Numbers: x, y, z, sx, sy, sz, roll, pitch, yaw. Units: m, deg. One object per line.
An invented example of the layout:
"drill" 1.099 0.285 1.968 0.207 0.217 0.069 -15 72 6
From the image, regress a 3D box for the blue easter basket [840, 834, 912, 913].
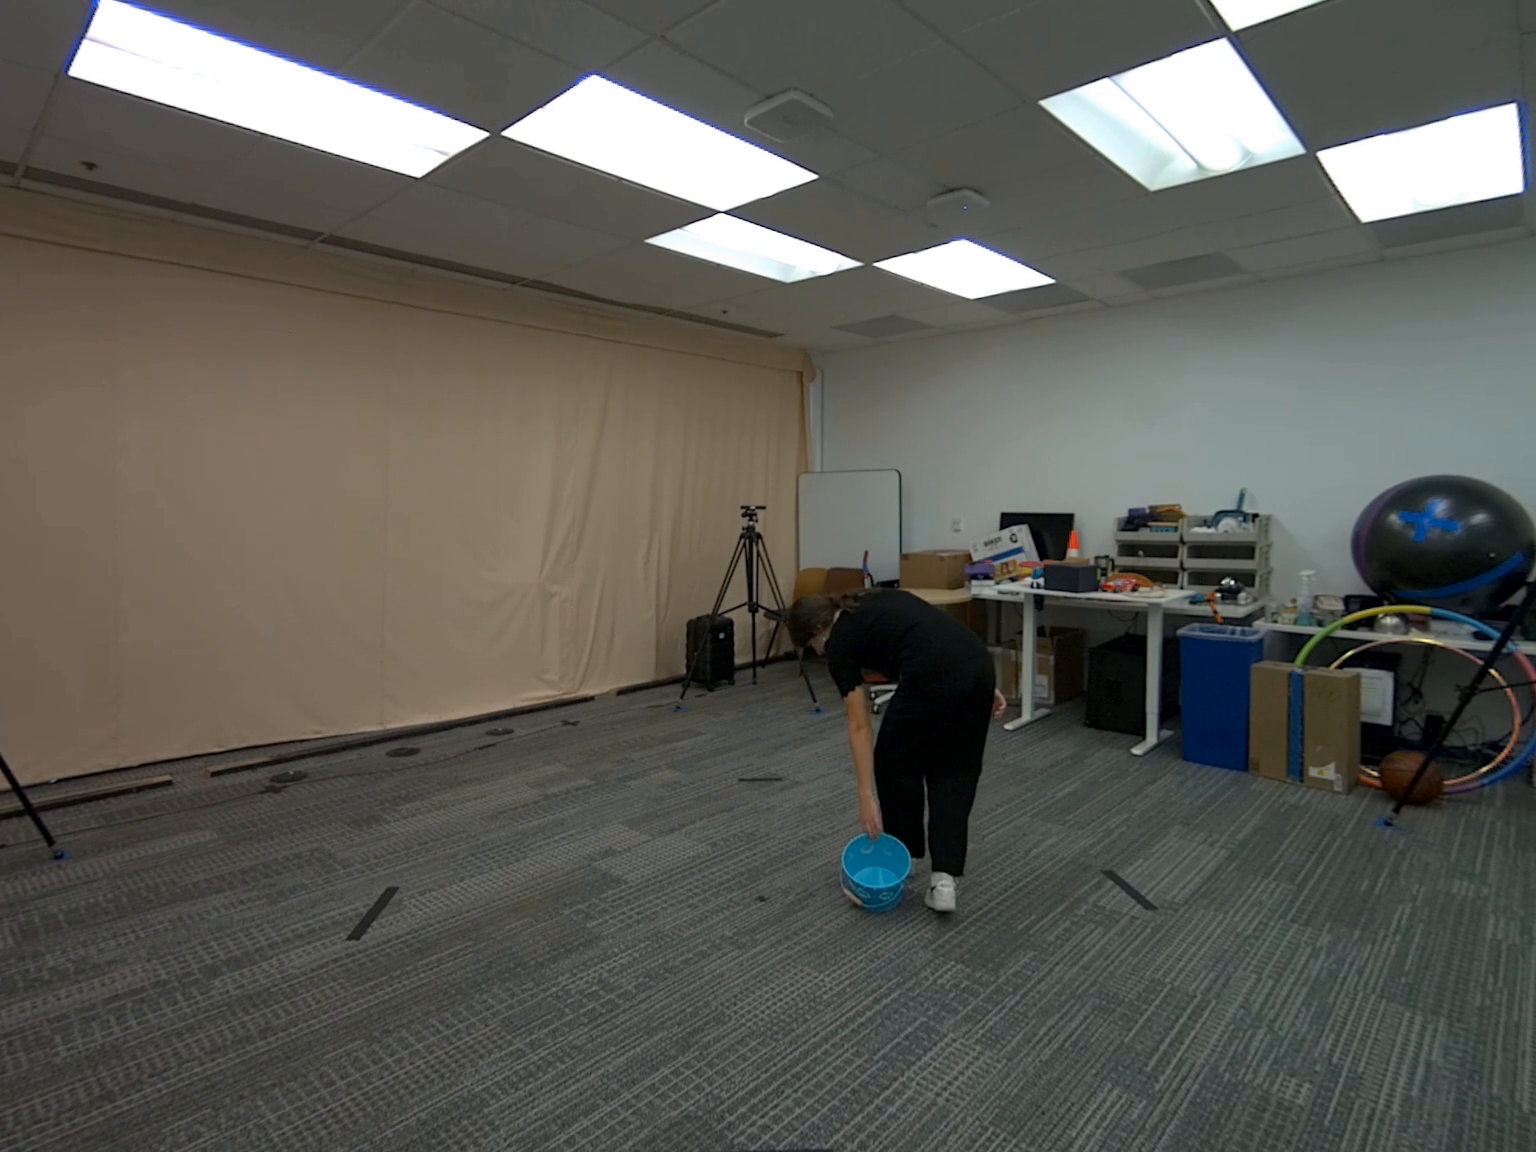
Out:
"blue easter basket" 0.378 1.044 2.928 0.244 0.153 0.248 -6 30 2
